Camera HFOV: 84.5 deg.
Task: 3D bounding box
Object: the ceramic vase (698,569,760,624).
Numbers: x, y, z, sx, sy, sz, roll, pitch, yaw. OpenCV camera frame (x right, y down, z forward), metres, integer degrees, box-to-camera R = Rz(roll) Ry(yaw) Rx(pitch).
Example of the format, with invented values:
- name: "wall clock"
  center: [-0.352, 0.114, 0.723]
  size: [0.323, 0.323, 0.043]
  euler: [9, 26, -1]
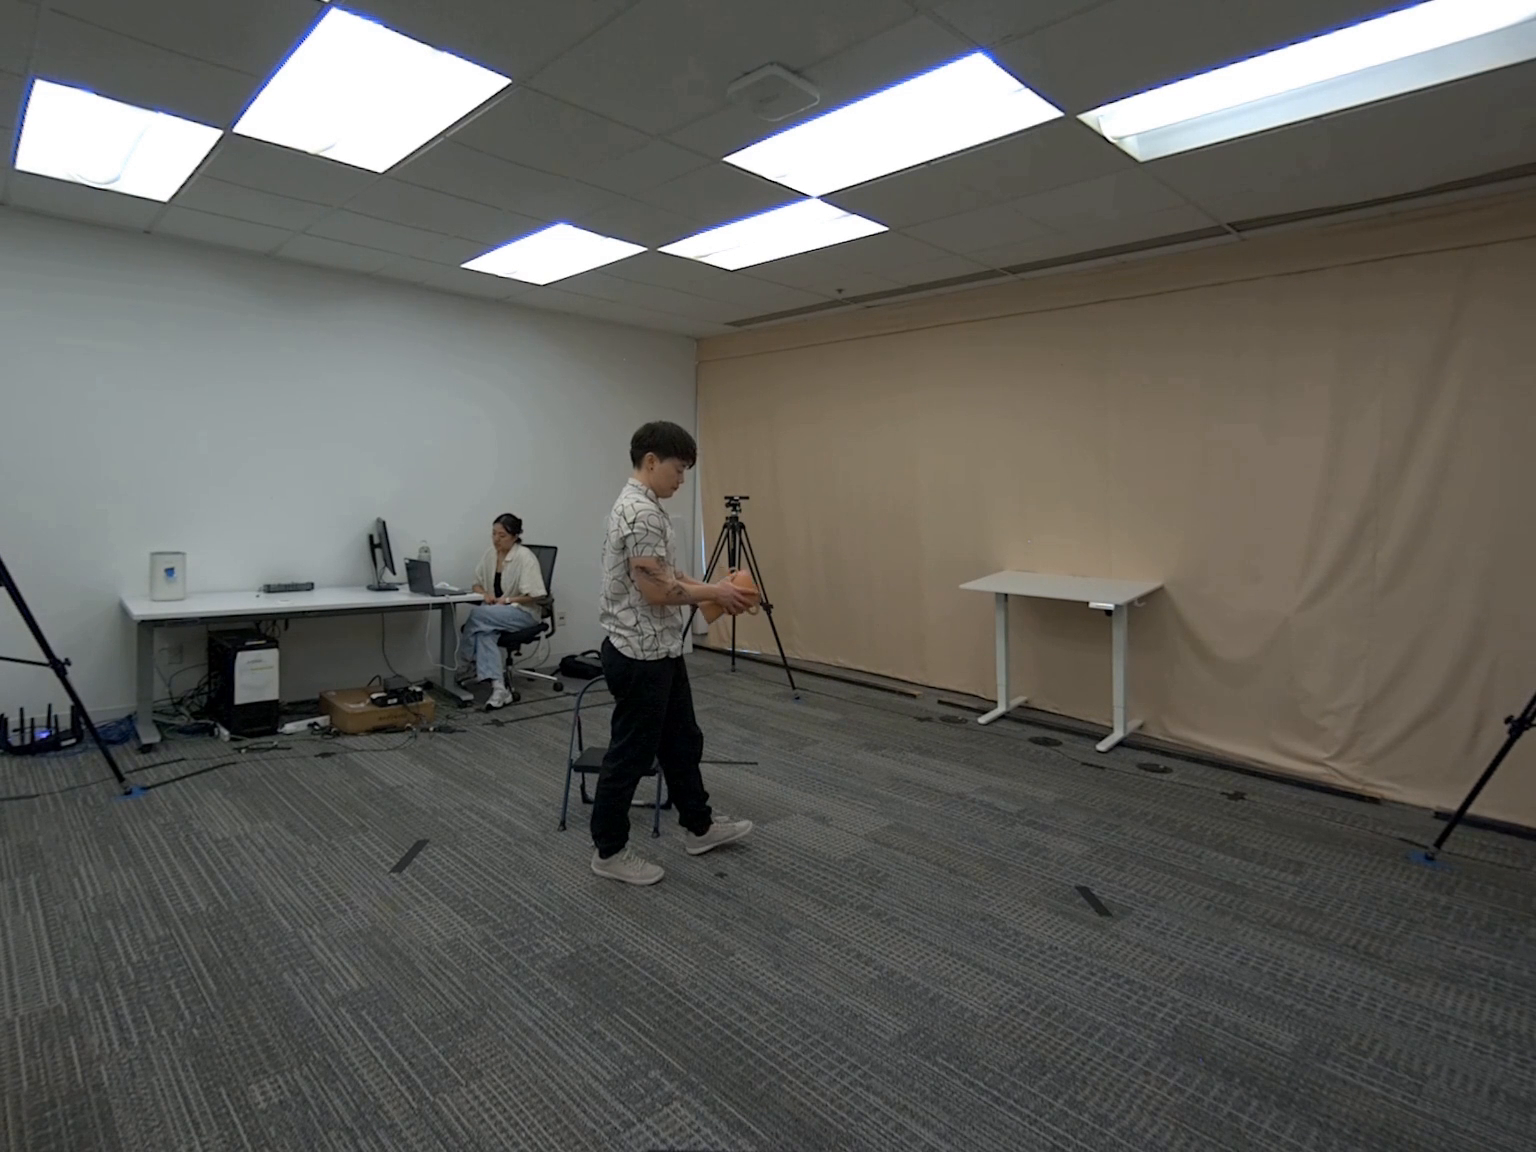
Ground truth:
- name: "ceramic vase"
  center: [-0.147, 0.082, 3.086]
  size: [0.219, 0.131, 0.163]
  euler: [-29, 36, -3]
